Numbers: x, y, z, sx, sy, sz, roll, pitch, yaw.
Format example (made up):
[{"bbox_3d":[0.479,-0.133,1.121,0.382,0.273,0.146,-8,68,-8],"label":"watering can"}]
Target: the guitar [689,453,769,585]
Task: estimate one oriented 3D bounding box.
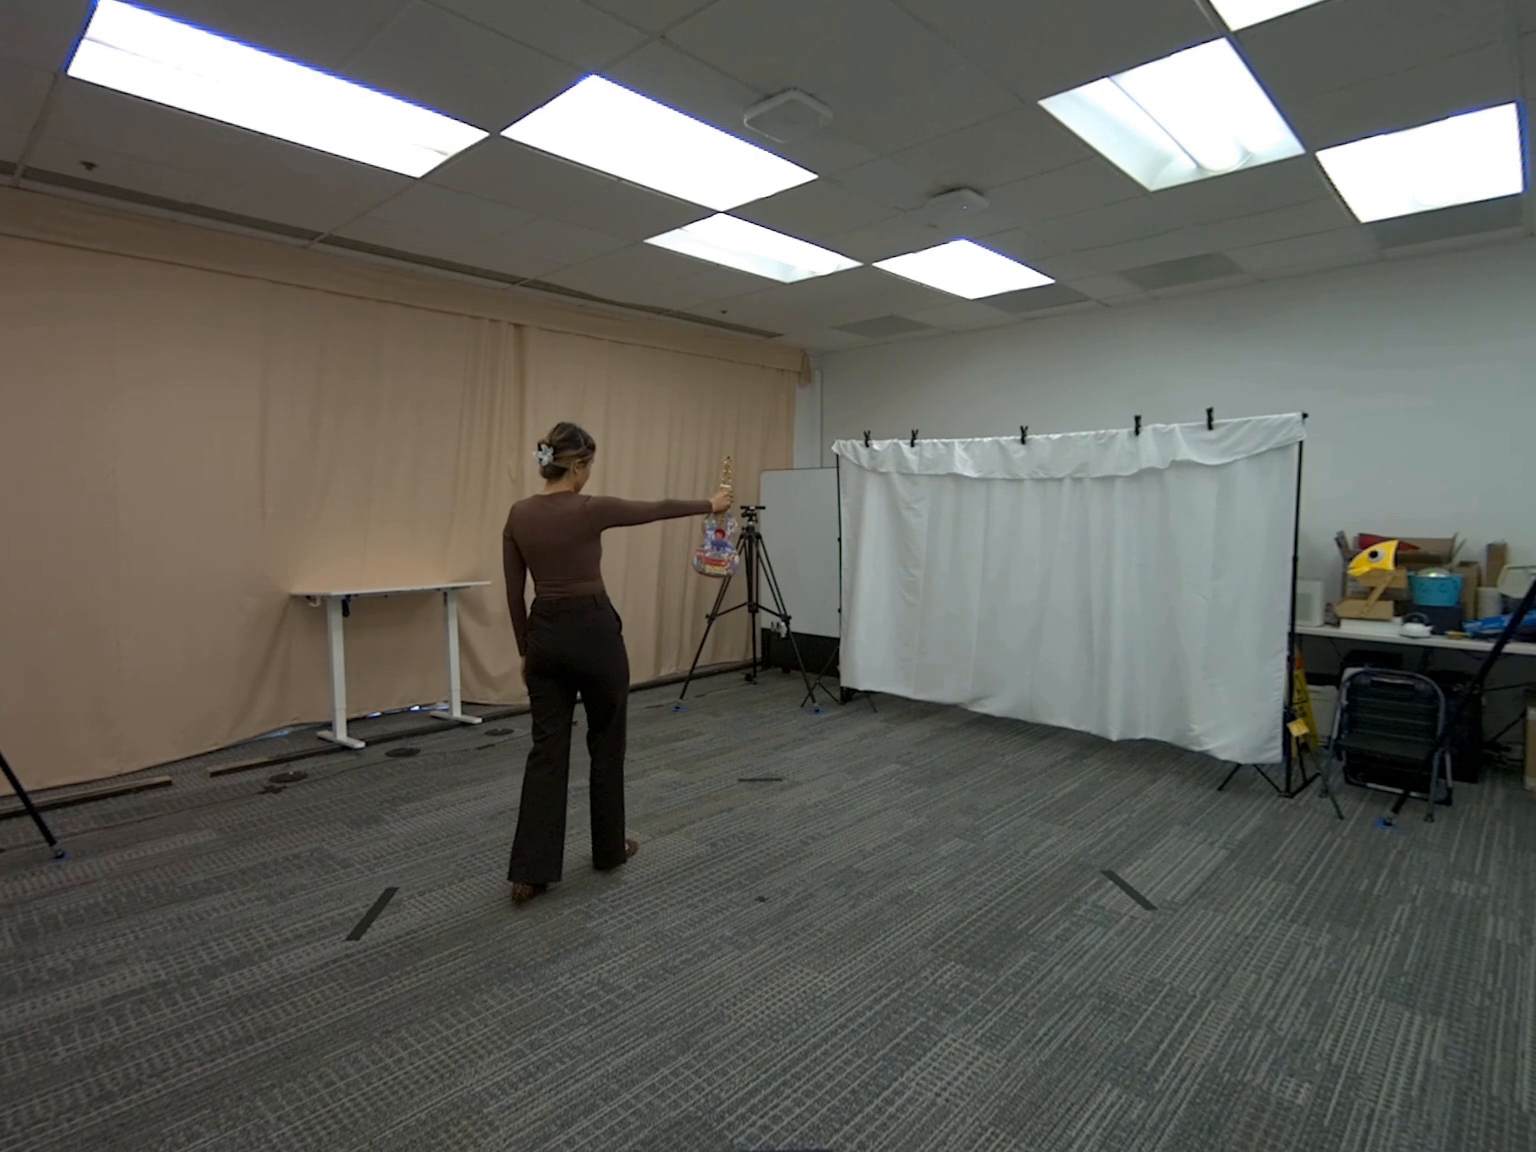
[{"bbox_3d":[-0.163,-0.237,3.477,0.193,0.499,0.070,16,-8,-1],"label":"guitar"}]
